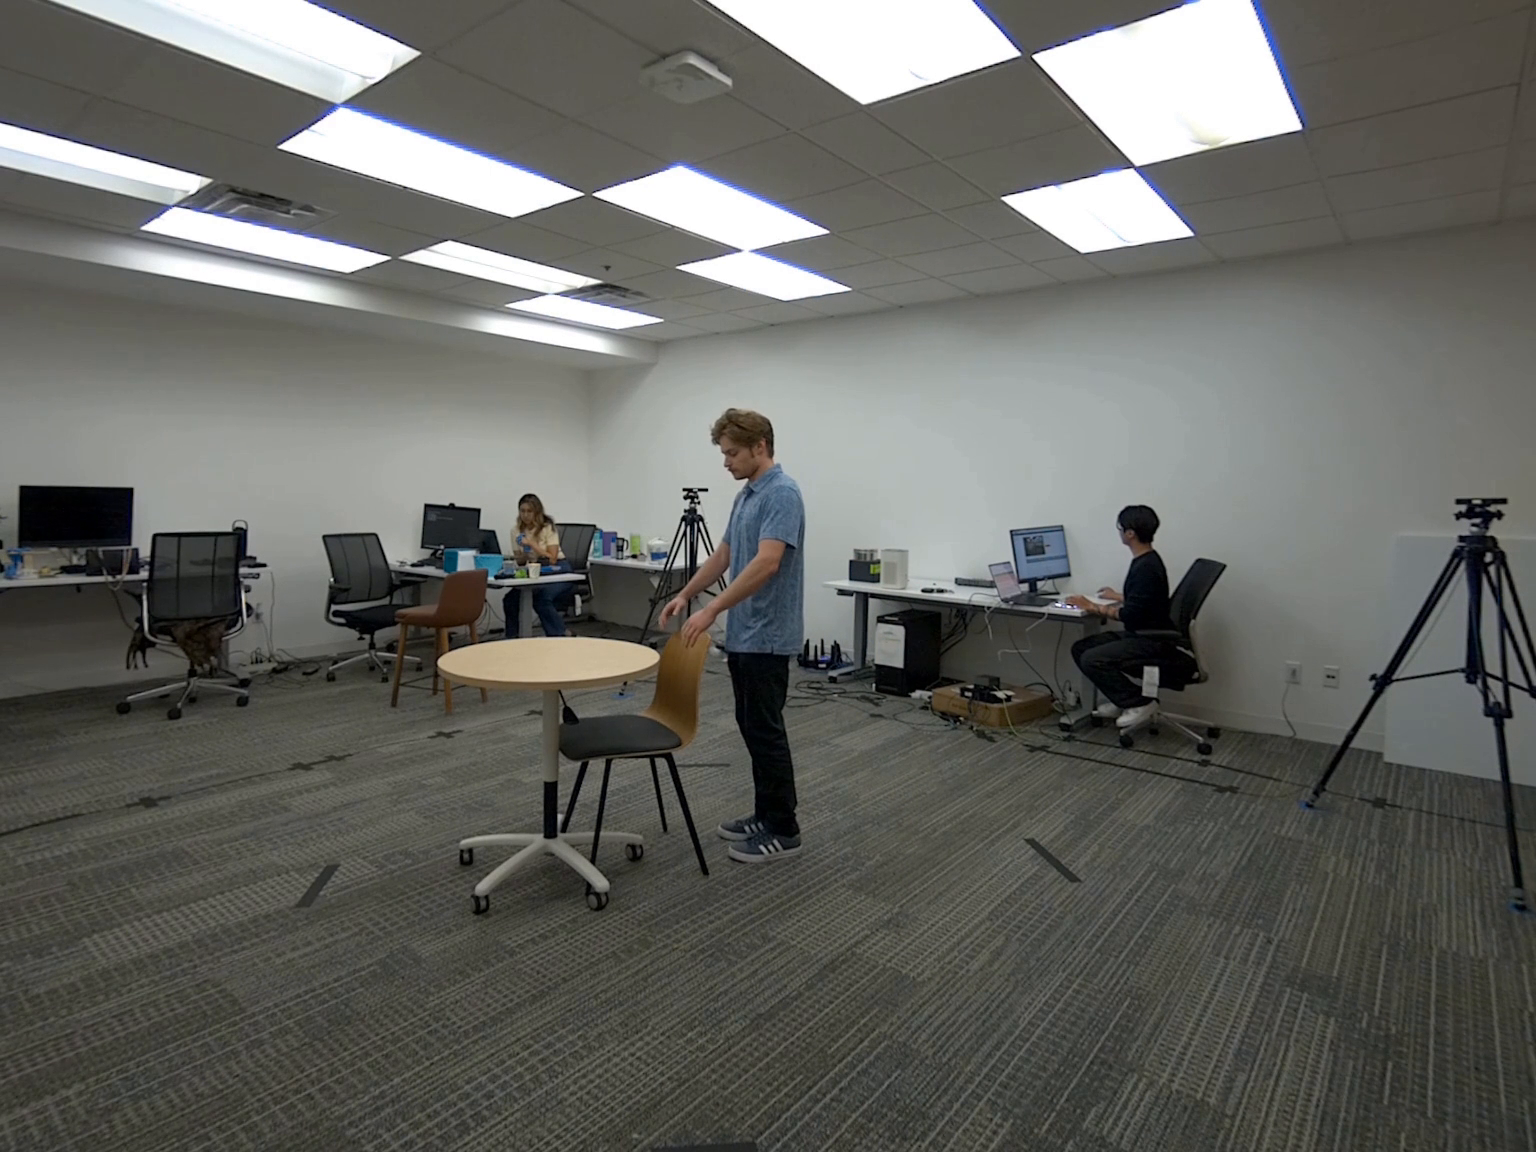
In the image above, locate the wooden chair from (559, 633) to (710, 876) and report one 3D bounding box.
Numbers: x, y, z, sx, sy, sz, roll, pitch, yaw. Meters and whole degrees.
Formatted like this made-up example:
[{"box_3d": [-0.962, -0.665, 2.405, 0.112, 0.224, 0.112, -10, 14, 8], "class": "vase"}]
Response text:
[{"box_3d": [-0.520, 0.630, 3.145, 0.510, 0.876, 0.491, 4, 2, -25], "class": "wooden chair"}]
